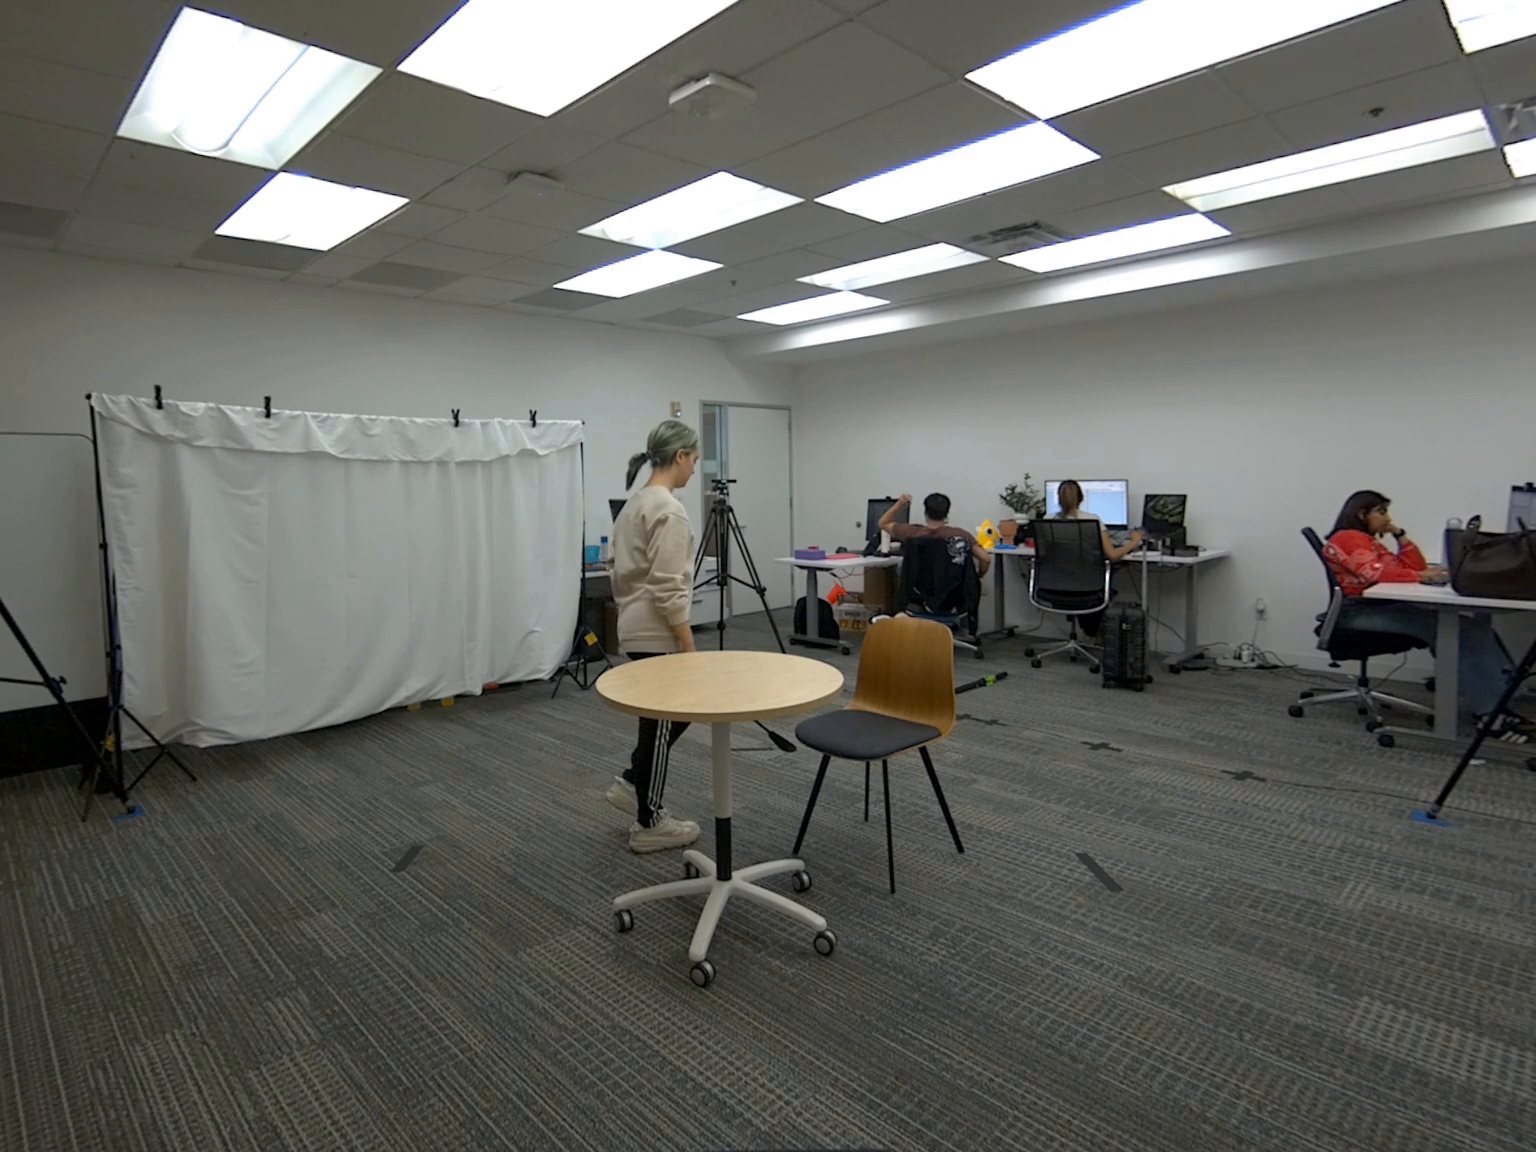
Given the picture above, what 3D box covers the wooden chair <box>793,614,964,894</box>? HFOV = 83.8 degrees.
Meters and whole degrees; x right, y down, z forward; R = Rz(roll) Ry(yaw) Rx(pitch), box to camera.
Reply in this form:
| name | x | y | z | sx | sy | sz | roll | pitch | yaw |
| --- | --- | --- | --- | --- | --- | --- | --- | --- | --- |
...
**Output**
| name | x | y | z | sx | sy | sz | roll | pitch | yaw |
| --- | --- | --- | --- | --- | --- | --- | --- | --- | --- |
| wooden chair | 0.397 | 0.602 | 3.136 | 0.508 | 0.876 | 0.493 | 1 | 2 | -45 |
